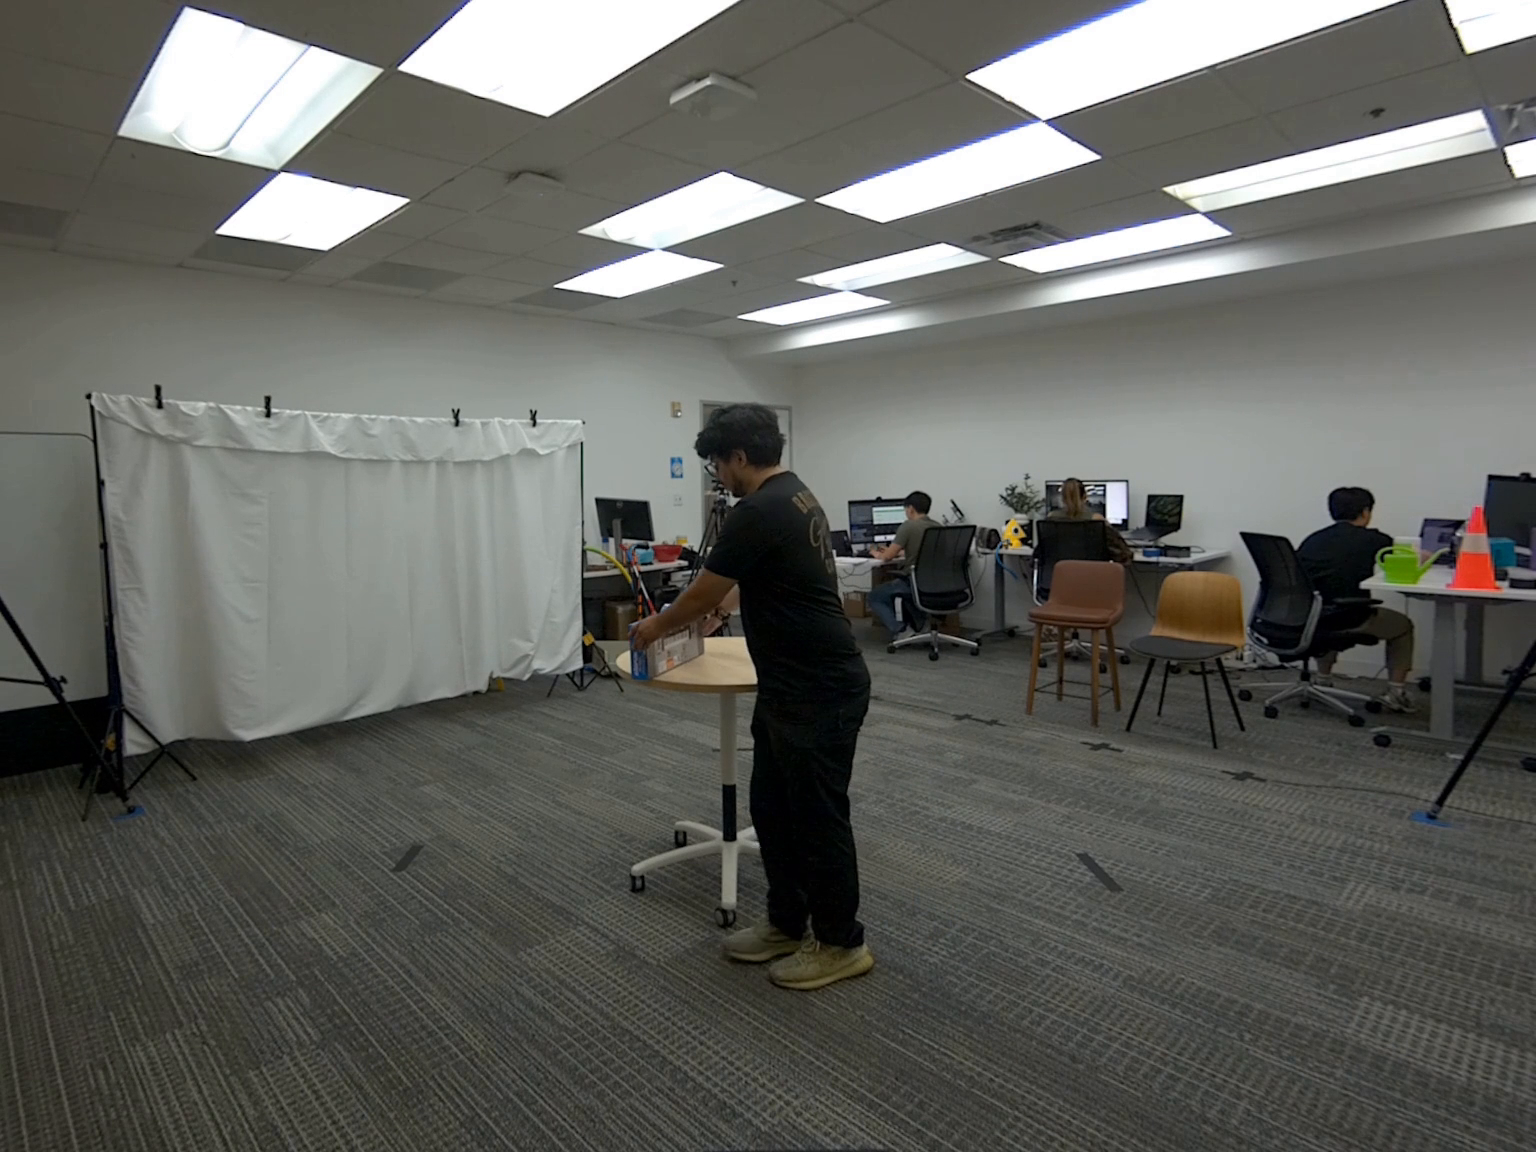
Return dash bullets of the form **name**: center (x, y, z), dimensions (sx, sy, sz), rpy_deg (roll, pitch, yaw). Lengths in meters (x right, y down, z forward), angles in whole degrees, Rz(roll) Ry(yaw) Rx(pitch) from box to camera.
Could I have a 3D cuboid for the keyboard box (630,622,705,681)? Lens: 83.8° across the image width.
- **keyboard box**: center (-0.324, 0.215, 2.831), dimensions (0.060, 0.175, 0.430), rpy_deg (-2, 5, 19)
